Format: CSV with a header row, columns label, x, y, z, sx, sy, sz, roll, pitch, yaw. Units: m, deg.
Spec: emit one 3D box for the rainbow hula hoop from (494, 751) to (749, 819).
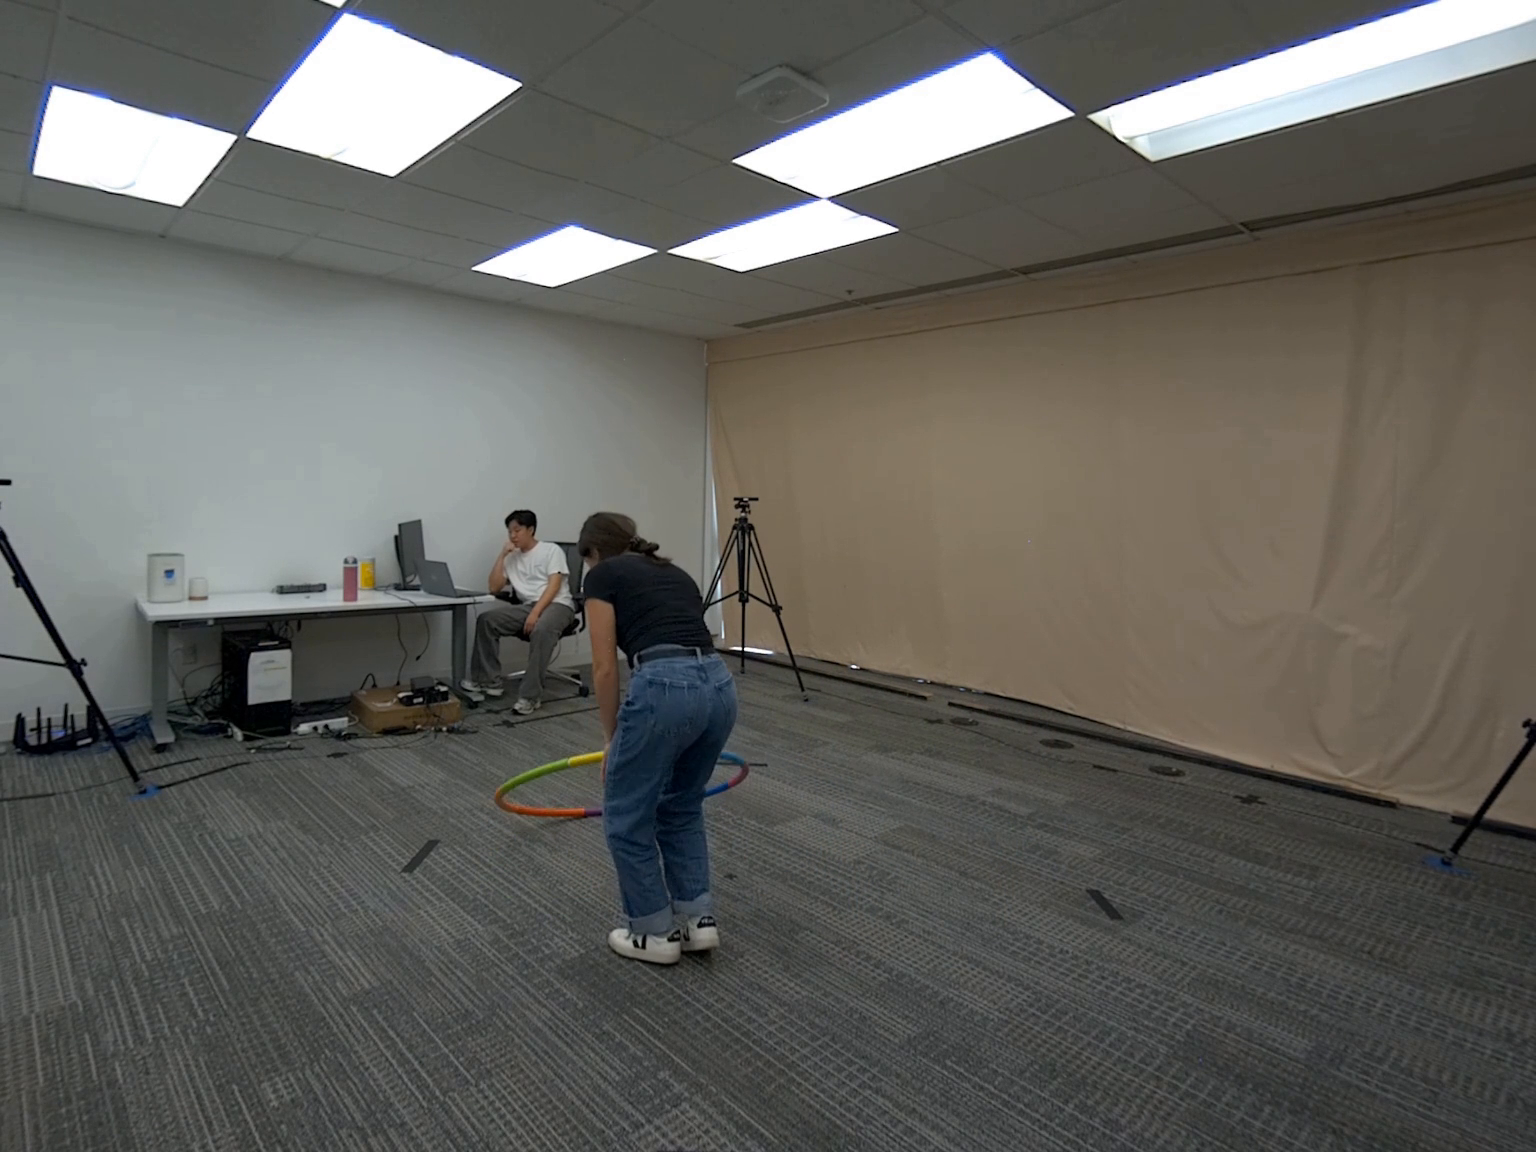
label,x,y,z,sx,sy,sz,roll,pitch,yaw
rainbow hula hoop,-0.570,0.824,3.274,0.975,0.036,0.962,-7,-25,-5
